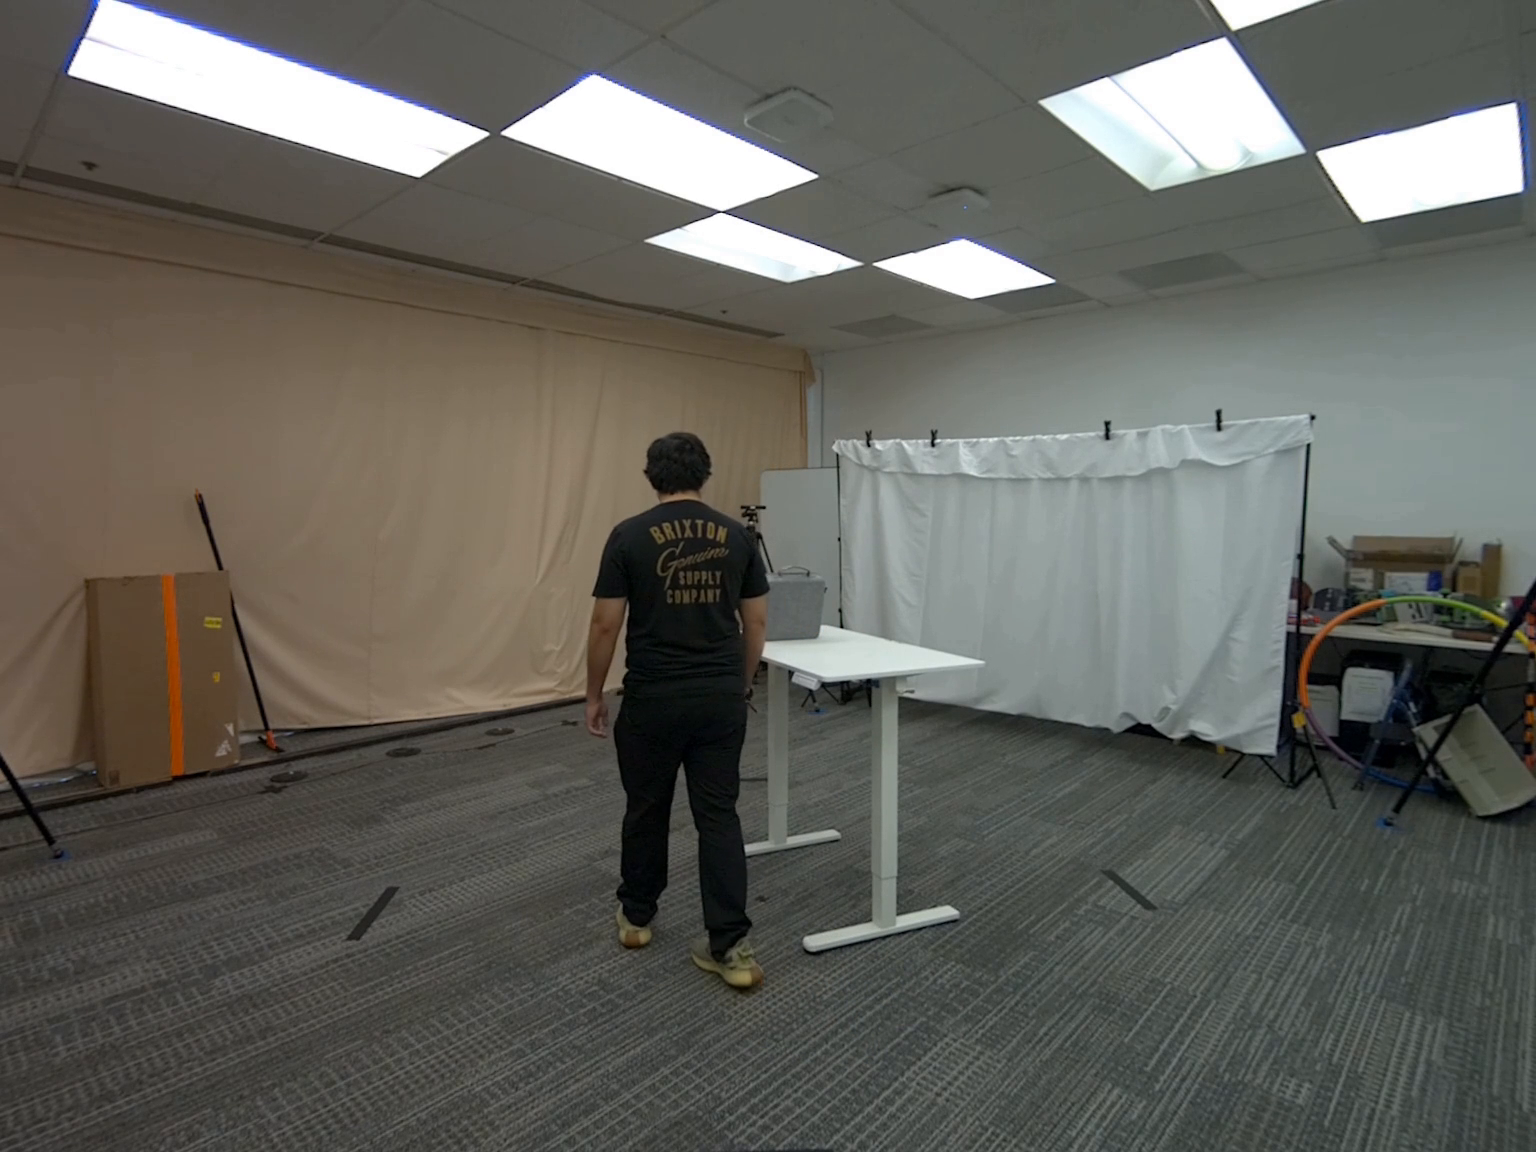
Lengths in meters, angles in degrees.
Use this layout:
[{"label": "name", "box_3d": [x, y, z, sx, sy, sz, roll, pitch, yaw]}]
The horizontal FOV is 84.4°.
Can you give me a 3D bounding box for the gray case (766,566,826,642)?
[{"label": "gray case", "box_3d": [0.081, 0.116, 3.205, 0.252, 0.259, 0.107, 0, 11, -17]}]
